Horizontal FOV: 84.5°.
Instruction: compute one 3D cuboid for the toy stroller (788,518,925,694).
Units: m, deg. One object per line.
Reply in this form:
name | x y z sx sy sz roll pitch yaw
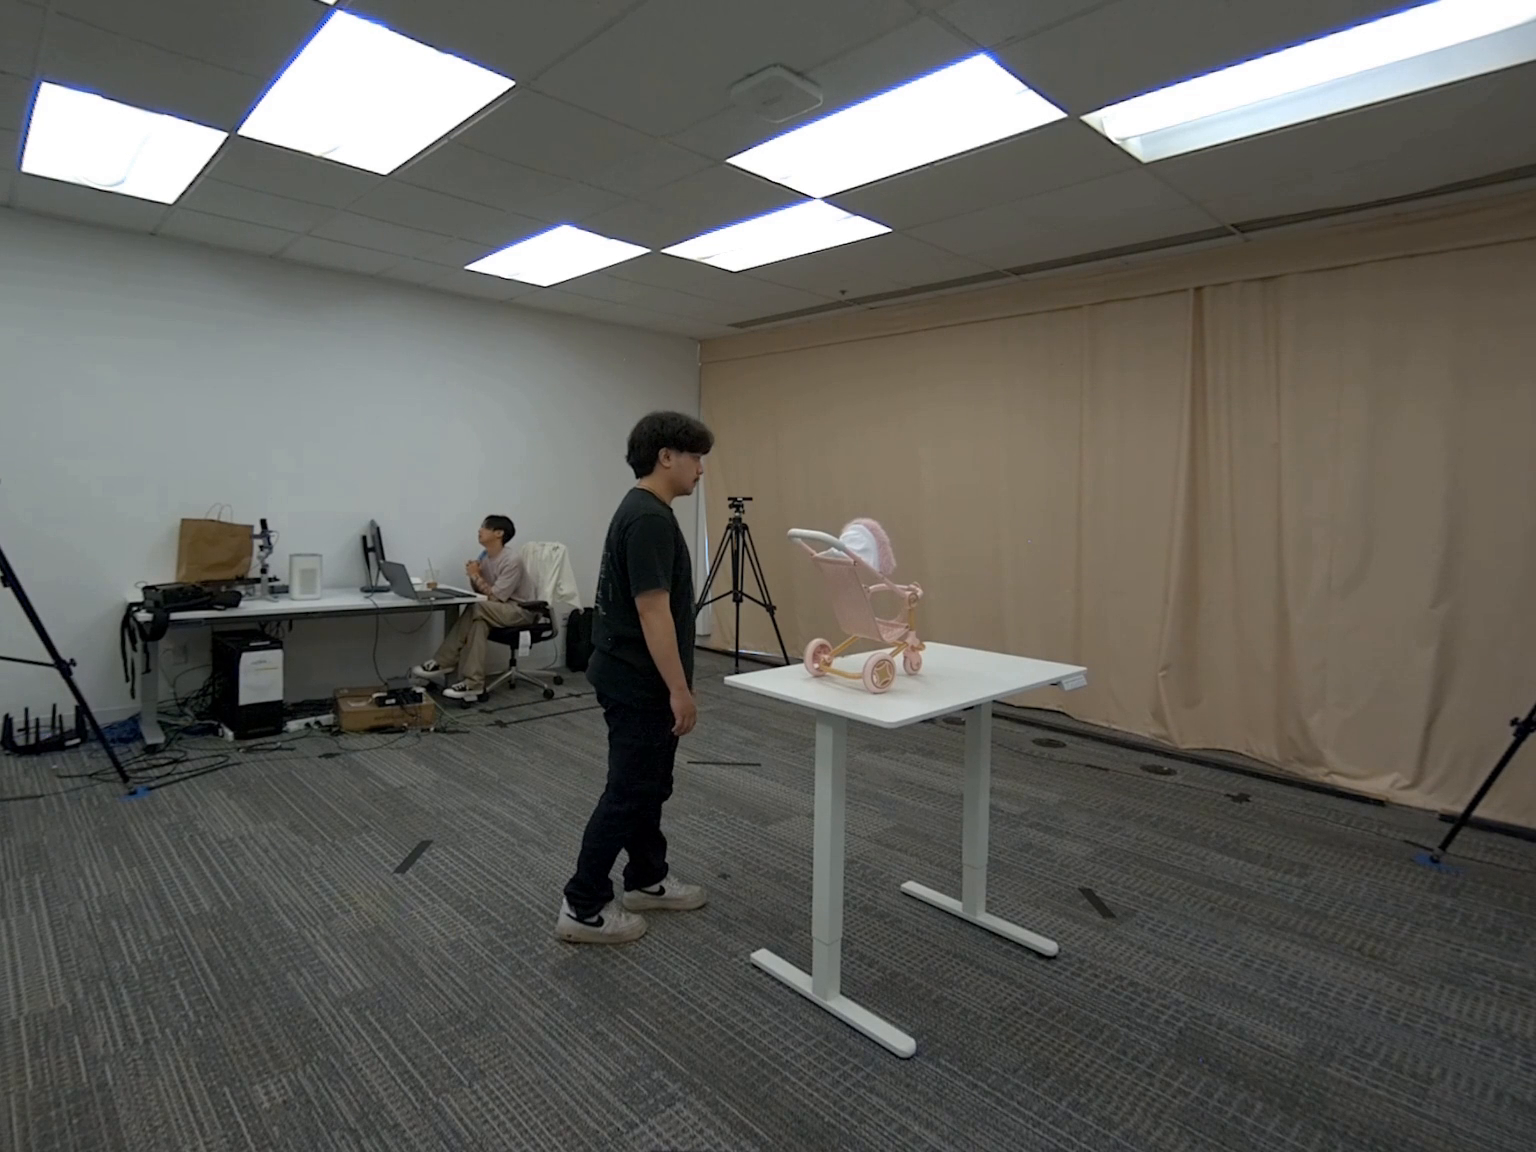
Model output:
toy stroller | 0.278 0.079 2.372 0.337 0.529 0.288 -19 13 -28
